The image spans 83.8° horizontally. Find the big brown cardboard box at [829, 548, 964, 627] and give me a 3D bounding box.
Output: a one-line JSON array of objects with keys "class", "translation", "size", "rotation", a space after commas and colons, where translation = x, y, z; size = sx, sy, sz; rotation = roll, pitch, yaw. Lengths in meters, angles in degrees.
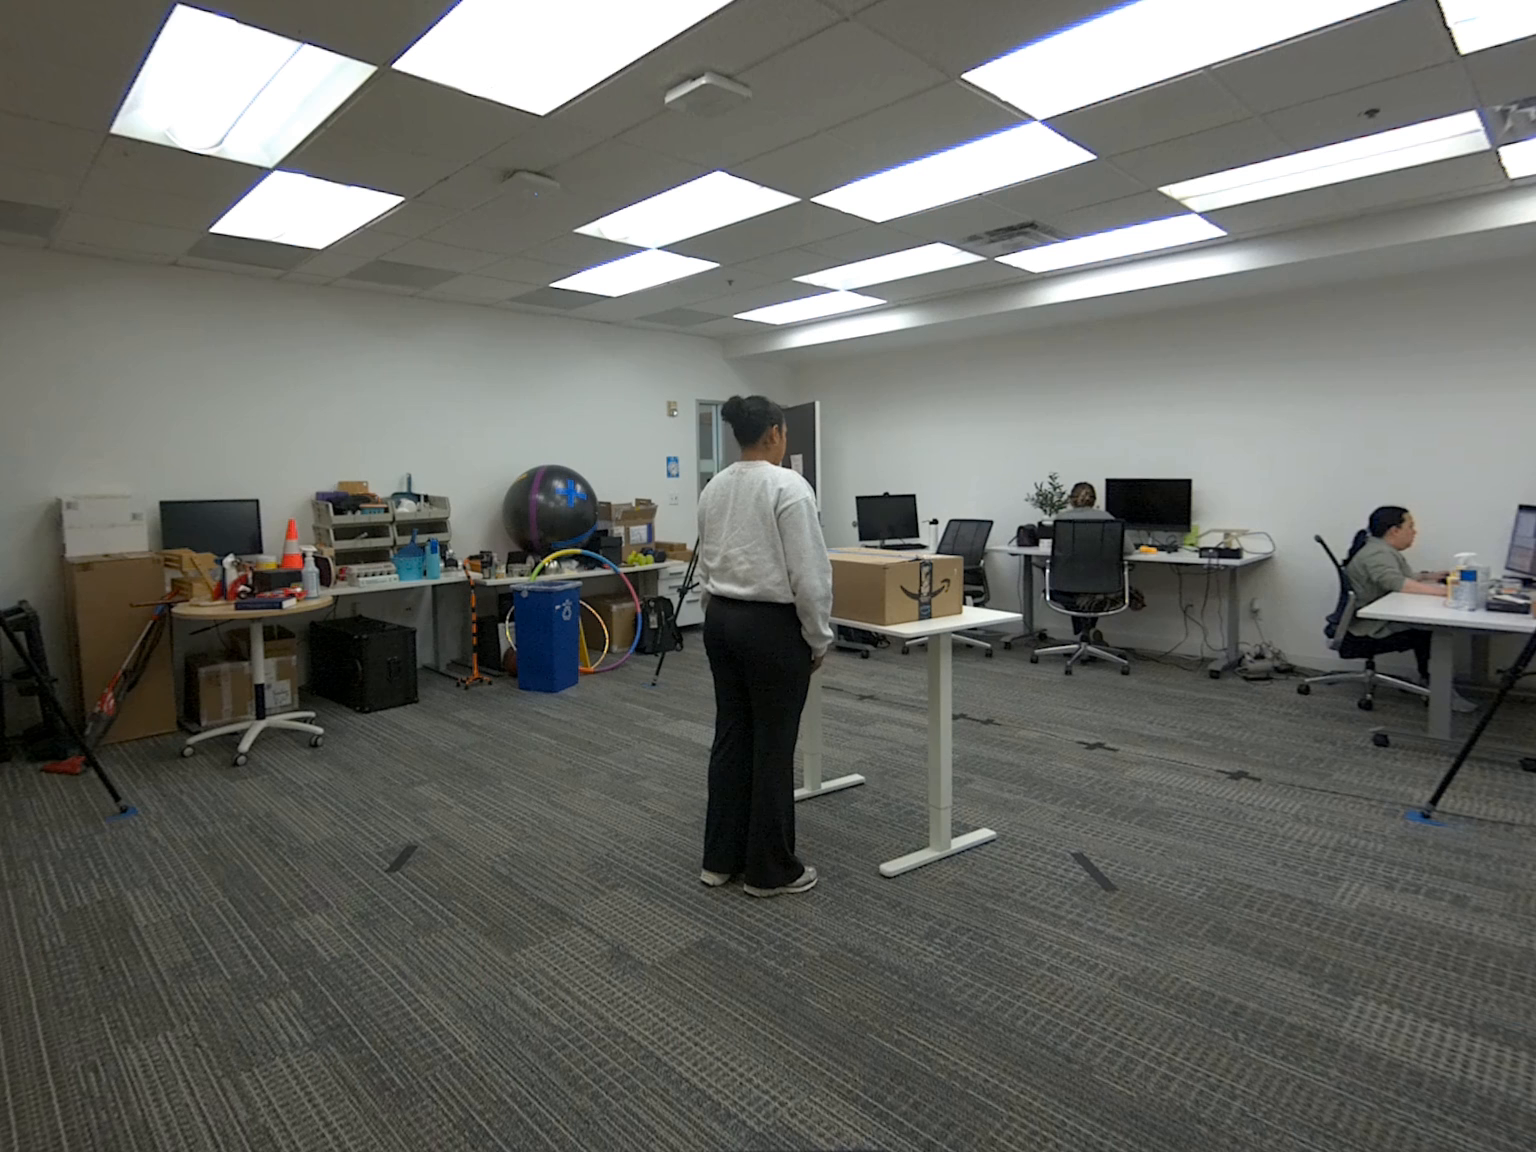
[{"class": "big brown cardboard box", "translation": [0.389, 0.026, 3.283], "size": [0.407, 0.232, 0.607], "rotation": [-6, 7, -37]}]
